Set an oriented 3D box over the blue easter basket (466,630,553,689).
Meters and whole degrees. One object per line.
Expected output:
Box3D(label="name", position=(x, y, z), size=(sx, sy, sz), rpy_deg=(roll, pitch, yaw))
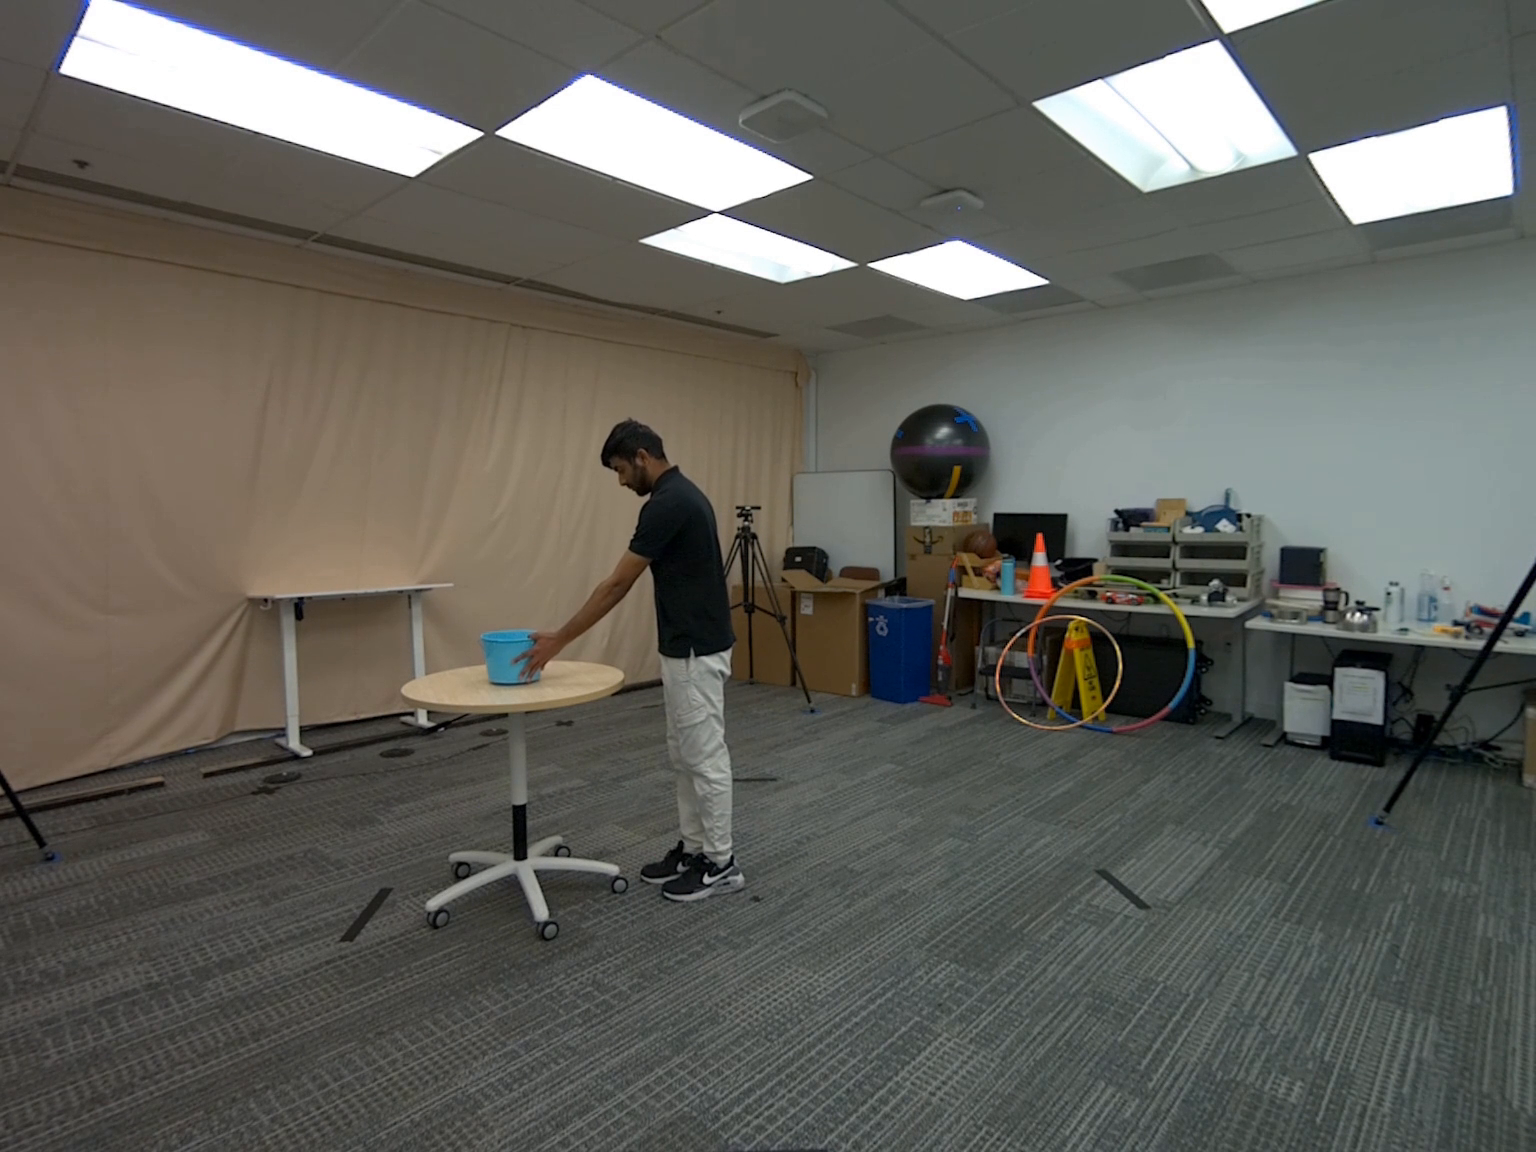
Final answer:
Box3D(label="blue easter basket", position=(-0.897, 0.286, 2.956), size=(0.243, 0.155, 0.244), rpy_deg=(0, 5, -2))
